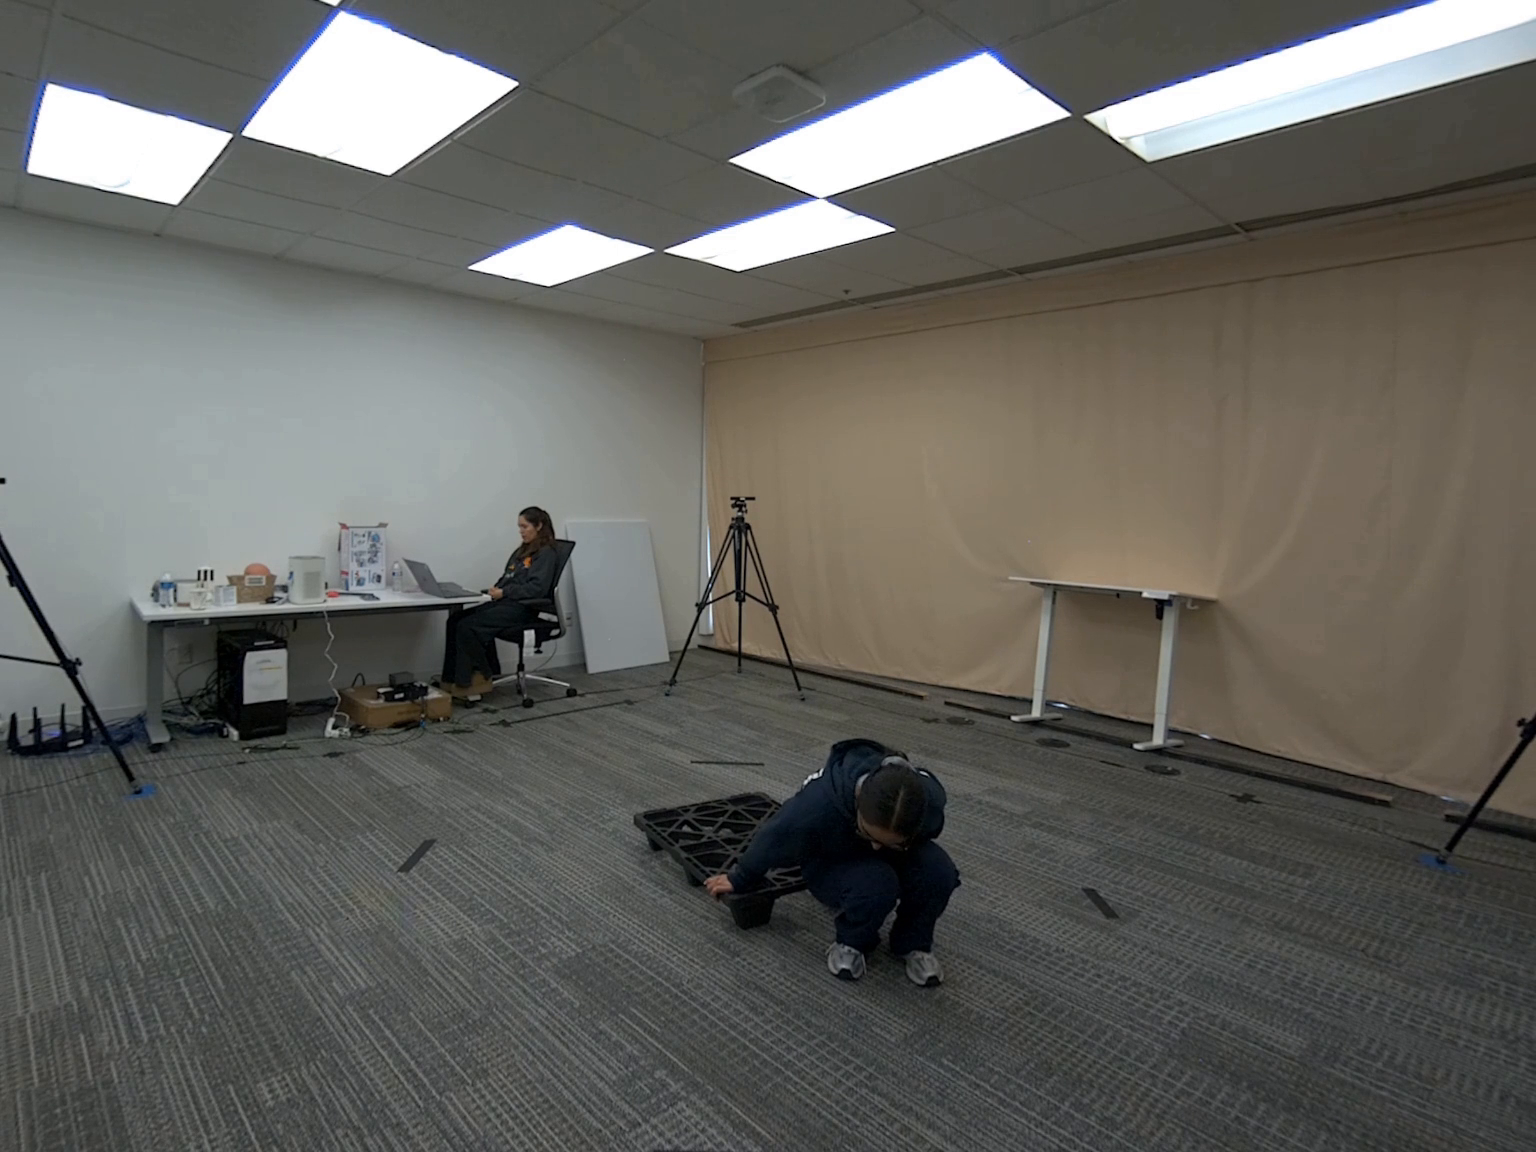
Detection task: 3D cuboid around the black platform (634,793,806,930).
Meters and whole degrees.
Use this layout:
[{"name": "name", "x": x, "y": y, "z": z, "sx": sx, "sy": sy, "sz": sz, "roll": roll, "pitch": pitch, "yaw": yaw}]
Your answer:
[{"name": "black platform", "x": -0.084, "y": 1.036, "z": 3.147, "sx": 0.593, "sy": 0.143, "sz": 0.824, "roll": -1, "pitch": 6, "yaw": -31}]
